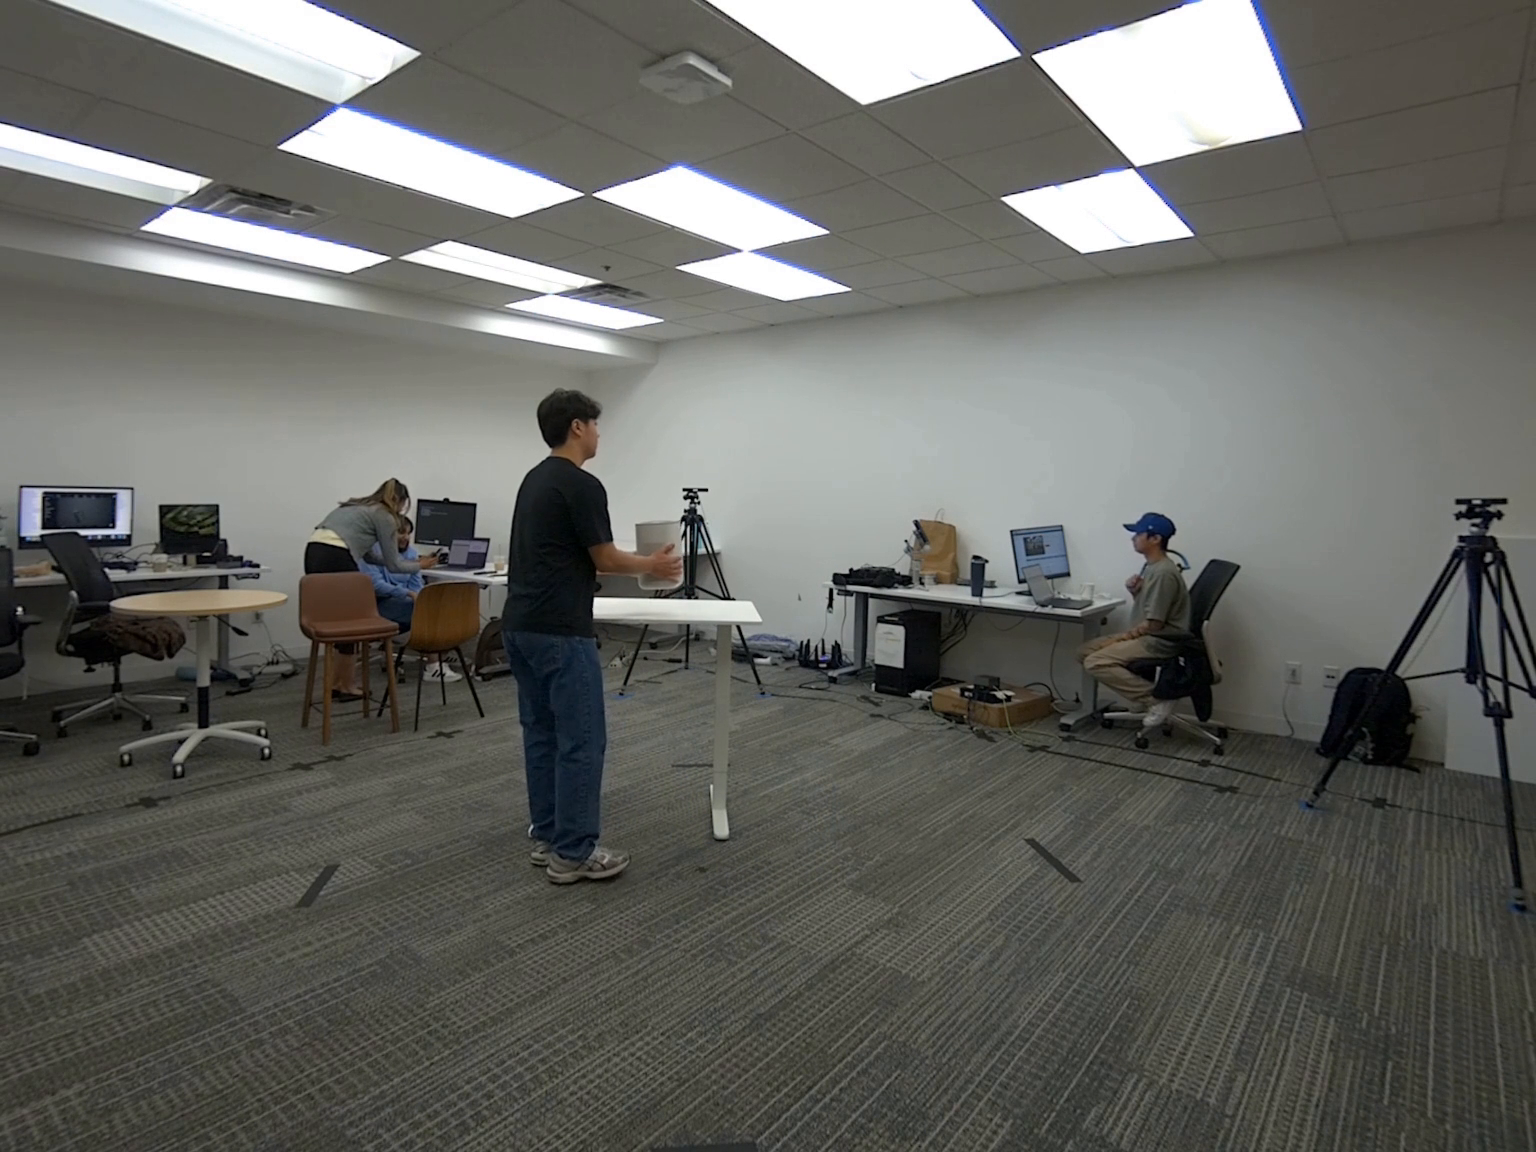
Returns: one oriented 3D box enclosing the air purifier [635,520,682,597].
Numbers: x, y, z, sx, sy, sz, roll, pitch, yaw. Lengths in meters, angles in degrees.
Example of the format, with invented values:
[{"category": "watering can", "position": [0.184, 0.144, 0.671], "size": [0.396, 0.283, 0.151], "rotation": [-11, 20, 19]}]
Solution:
[{"category": "air purifier", "position": [-0.450, -0.086, 3.428], "size": [0.173, 0.264, 0.170], "rotation": [-2, 5, 7]}]
